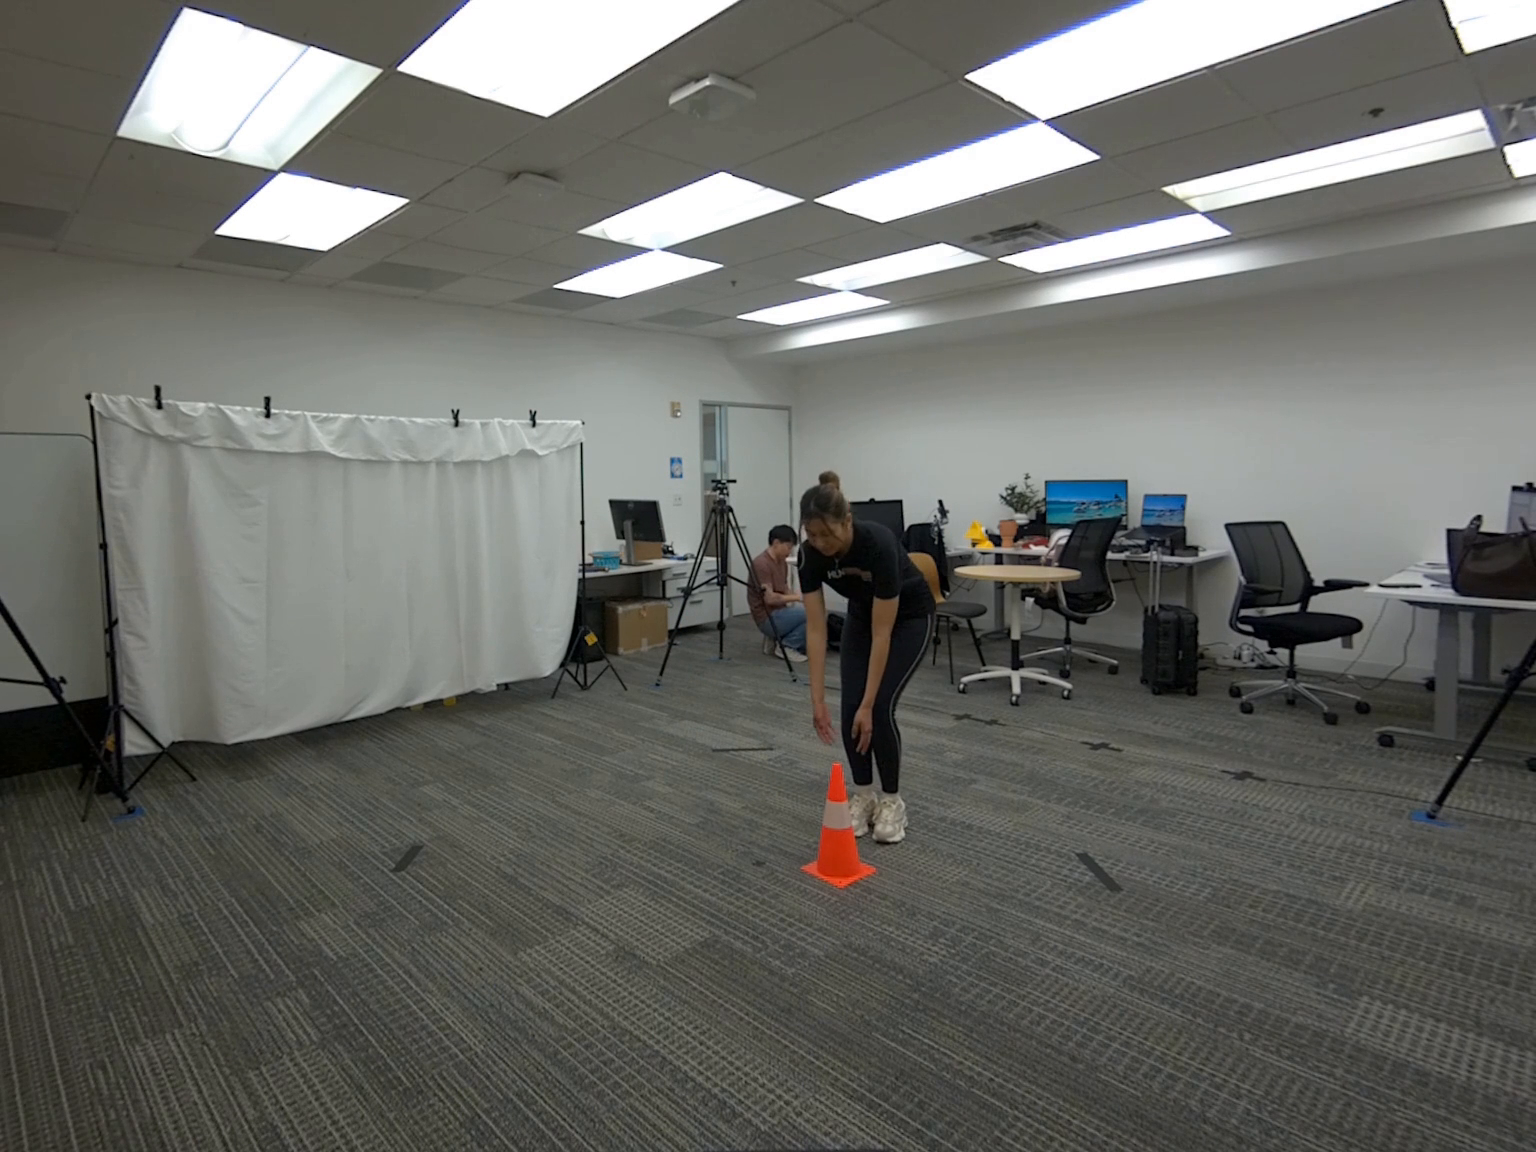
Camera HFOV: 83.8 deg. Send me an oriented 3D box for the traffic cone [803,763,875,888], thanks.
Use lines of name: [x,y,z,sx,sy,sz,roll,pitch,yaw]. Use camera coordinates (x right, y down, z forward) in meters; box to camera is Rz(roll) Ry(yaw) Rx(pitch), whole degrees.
traffic cone: [0.256,0.868,3.036,0.211,0.382,0.198,3,6,43]
